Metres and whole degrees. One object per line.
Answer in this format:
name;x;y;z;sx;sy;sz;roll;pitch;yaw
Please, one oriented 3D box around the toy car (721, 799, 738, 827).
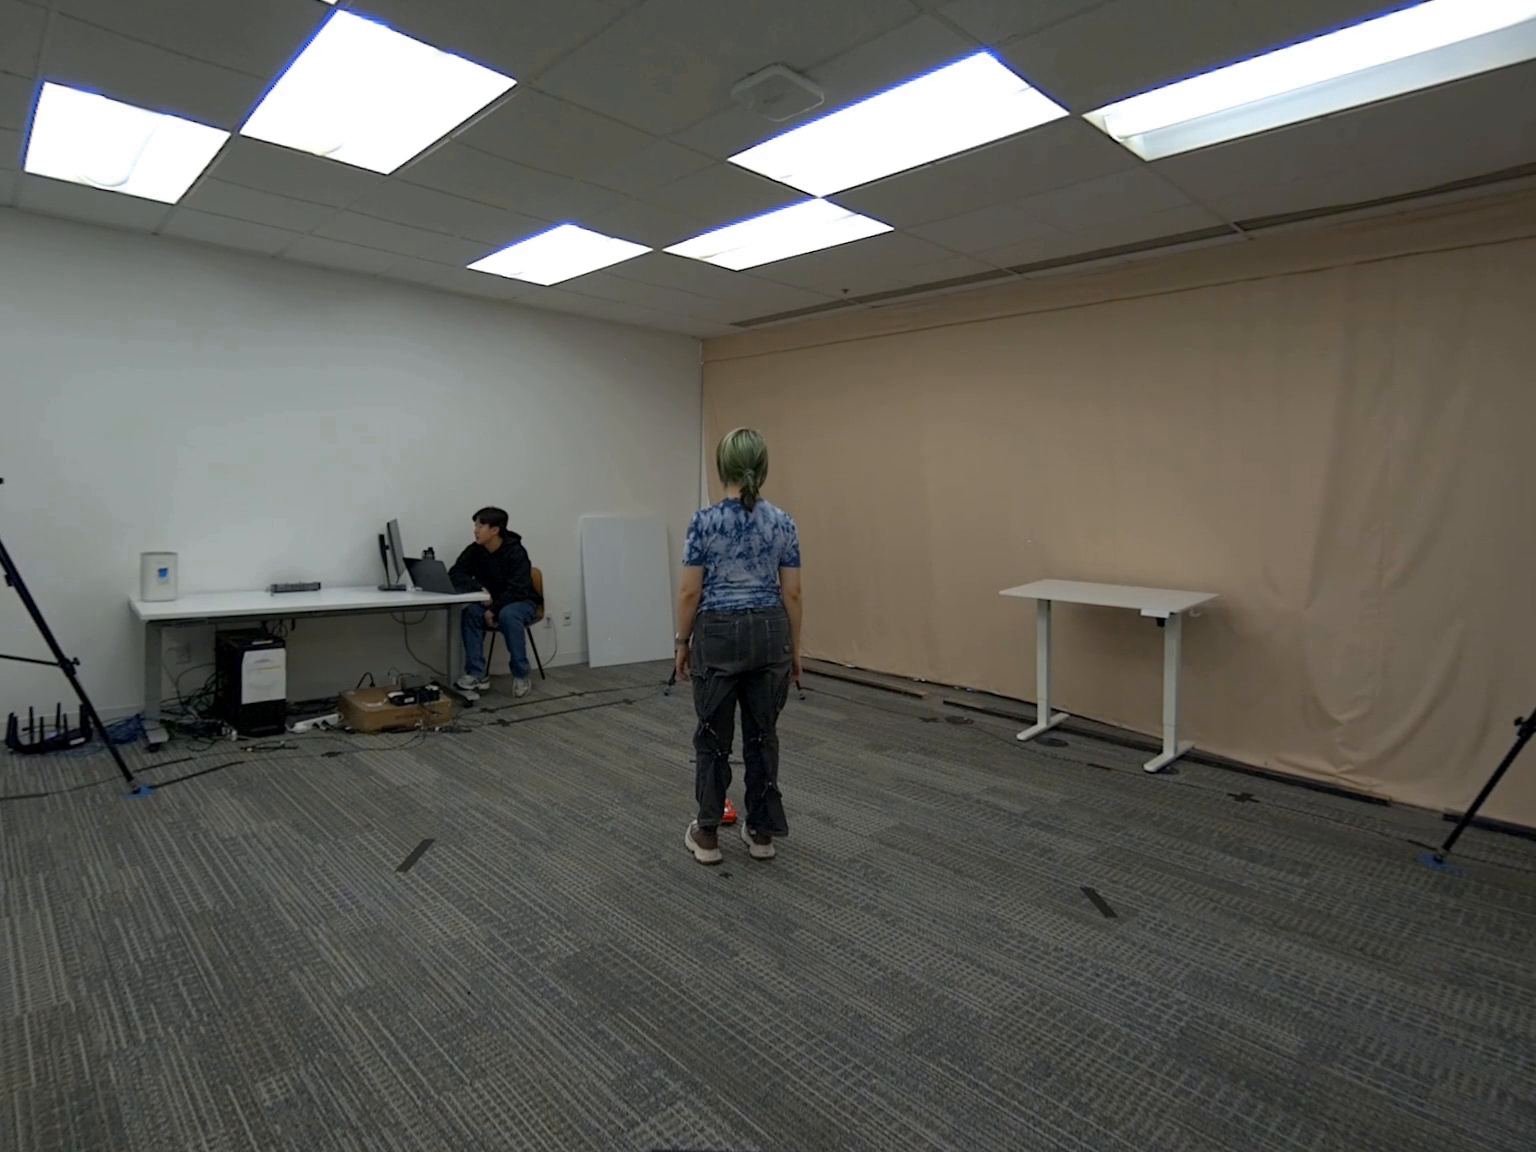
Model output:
toy car;-0.213;1.023;3.664;0.129;0.083;0.255;2;-6;-8
